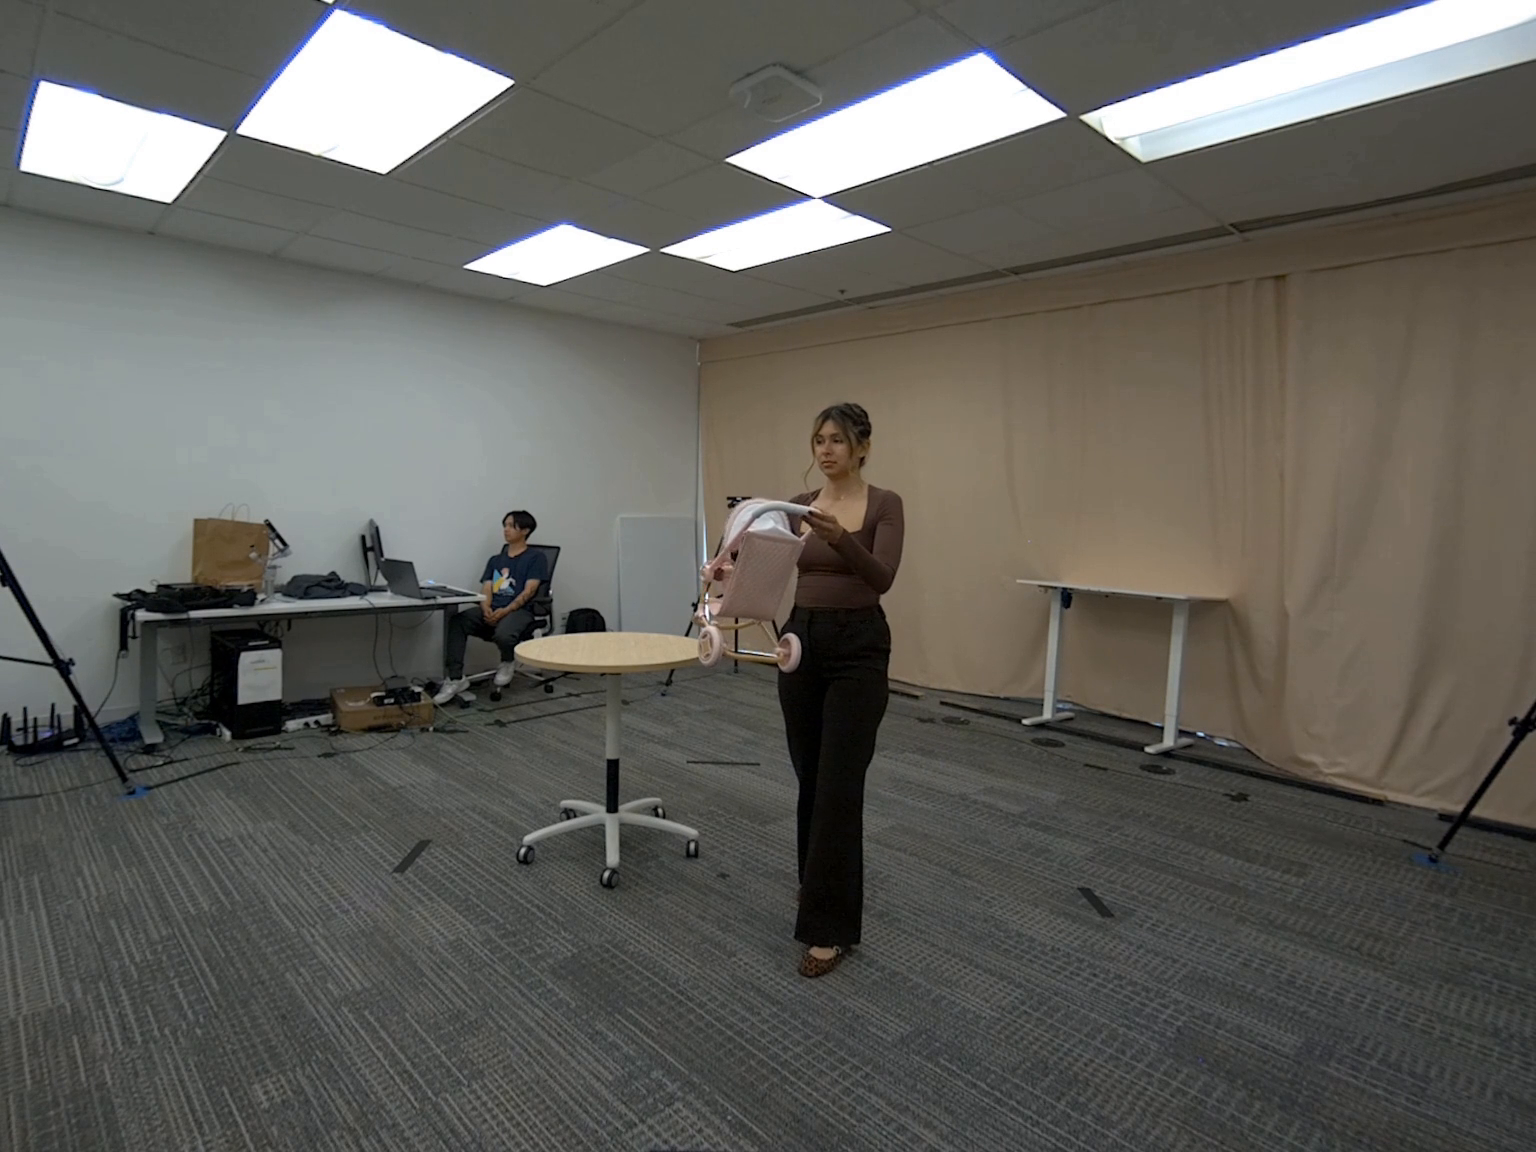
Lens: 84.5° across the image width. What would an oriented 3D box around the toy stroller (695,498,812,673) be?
[{"bbox_3d":[-0.058,0.024,2.369,0.276,0.532,0.350,9,12,-25],"label":"toy stroller"}]
